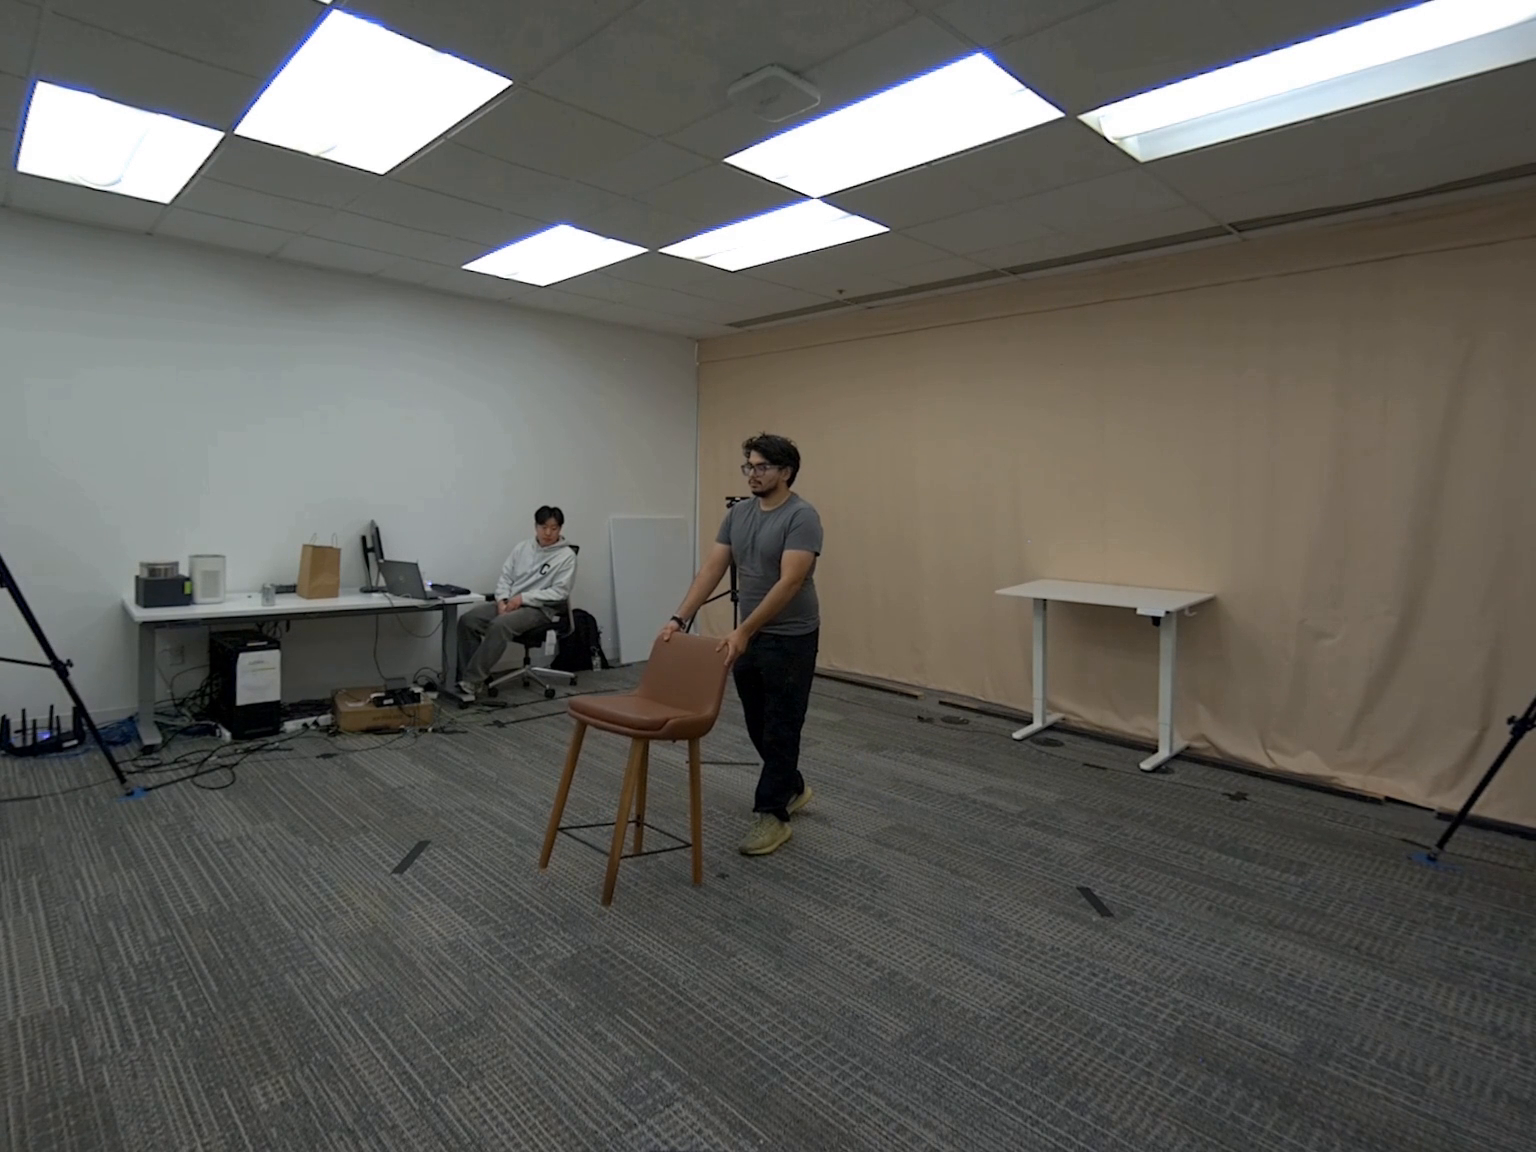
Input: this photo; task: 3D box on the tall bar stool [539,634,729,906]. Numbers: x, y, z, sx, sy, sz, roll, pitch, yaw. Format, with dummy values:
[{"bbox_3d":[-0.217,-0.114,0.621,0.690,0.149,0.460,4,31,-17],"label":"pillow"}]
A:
[{"bbox_3d":[-0.466,0.643,3.032,0.468,0.892,0.454,4,-6,45],"label":"tall bar stool"}]
